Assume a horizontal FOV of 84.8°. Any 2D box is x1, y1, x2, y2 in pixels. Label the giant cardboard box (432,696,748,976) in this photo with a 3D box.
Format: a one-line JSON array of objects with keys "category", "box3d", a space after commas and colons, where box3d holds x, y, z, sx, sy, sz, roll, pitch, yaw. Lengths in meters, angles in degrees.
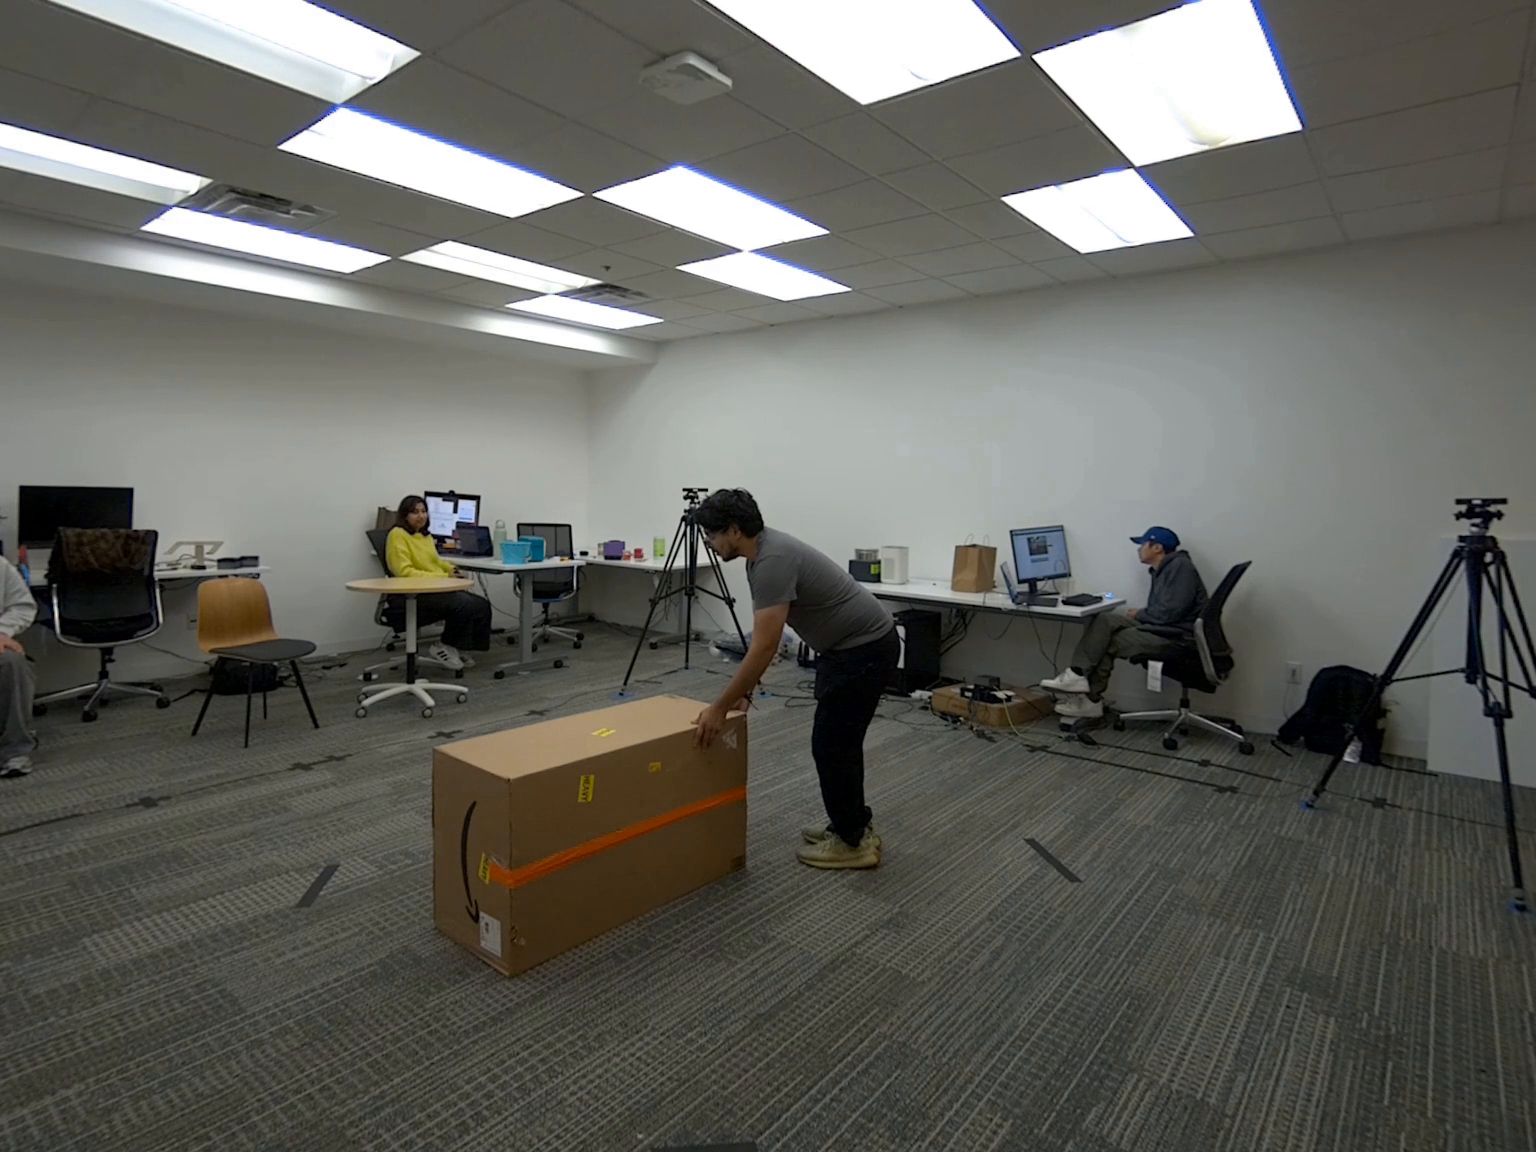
[{"category": "giant cardboard box", "box3d": [-0.574, 0.803, 2.885, 0.440, 0.576, 0.995, 4, 5, 40]}]
